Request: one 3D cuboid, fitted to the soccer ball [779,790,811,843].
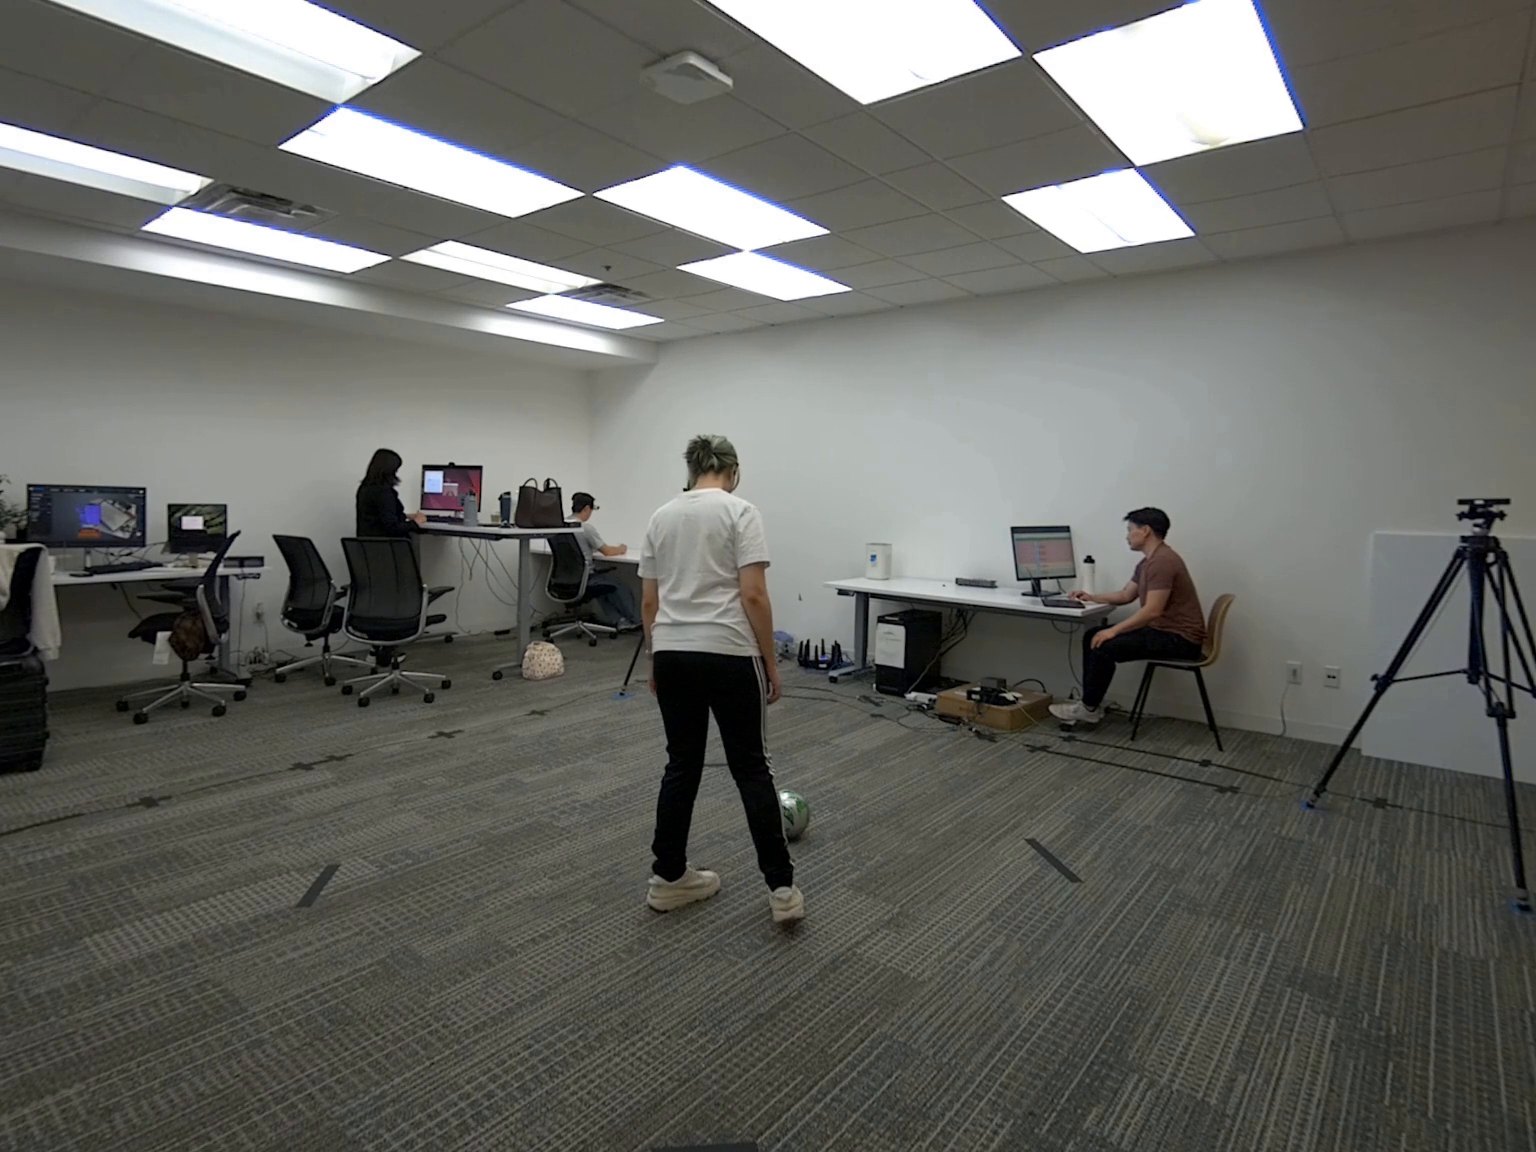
[{"bbox_3d":[0.070,0.949,3.414,0.187,0.187,0.188,1,4,-2],"label":"soccer ball"}]
